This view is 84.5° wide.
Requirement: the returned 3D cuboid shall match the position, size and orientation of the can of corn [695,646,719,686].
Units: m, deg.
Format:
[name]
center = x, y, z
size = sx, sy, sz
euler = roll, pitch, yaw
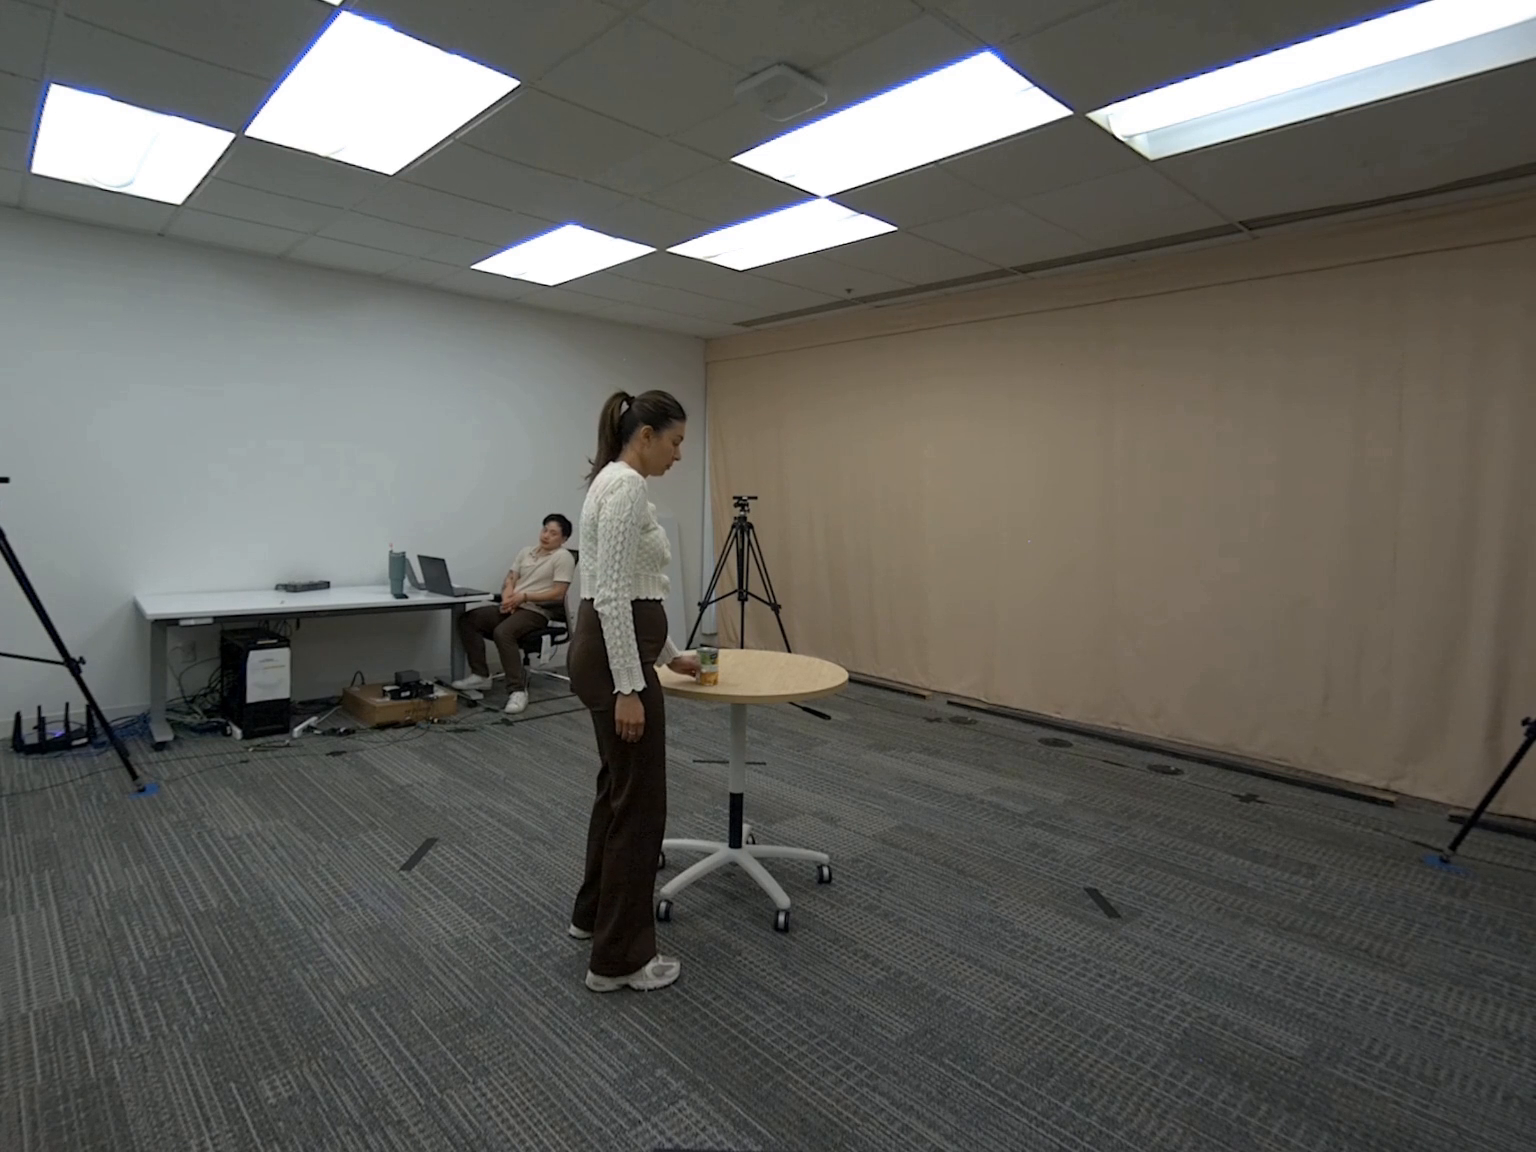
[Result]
[can of corn]
center = -0.210, 0.297, 2.738
size = 0.074, 0.111, 0.074
euler = -1, 3, -1
